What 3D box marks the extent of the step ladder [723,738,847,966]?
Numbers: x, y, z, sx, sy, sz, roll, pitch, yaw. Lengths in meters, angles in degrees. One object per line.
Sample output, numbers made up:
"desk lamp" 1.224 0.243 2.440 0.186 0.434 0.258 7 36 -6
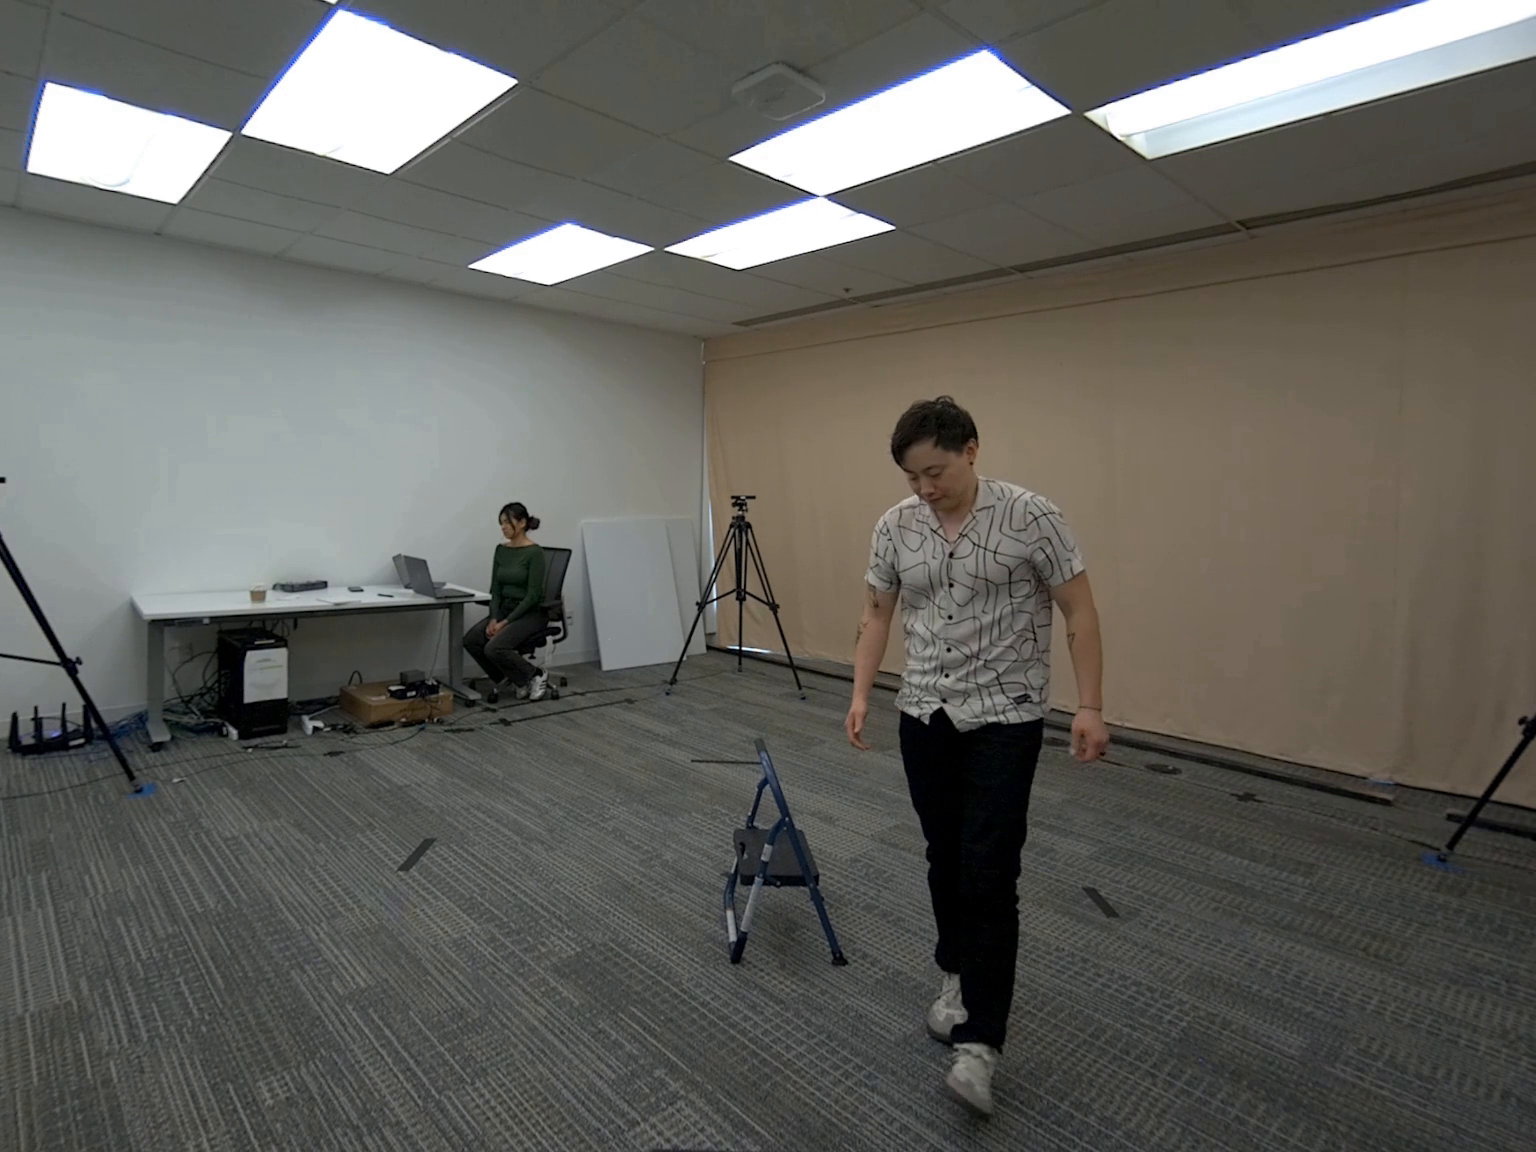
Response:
"step ladder" 0.039 0.843 2.700 0.348 0.604 0.434 1 4 -6
